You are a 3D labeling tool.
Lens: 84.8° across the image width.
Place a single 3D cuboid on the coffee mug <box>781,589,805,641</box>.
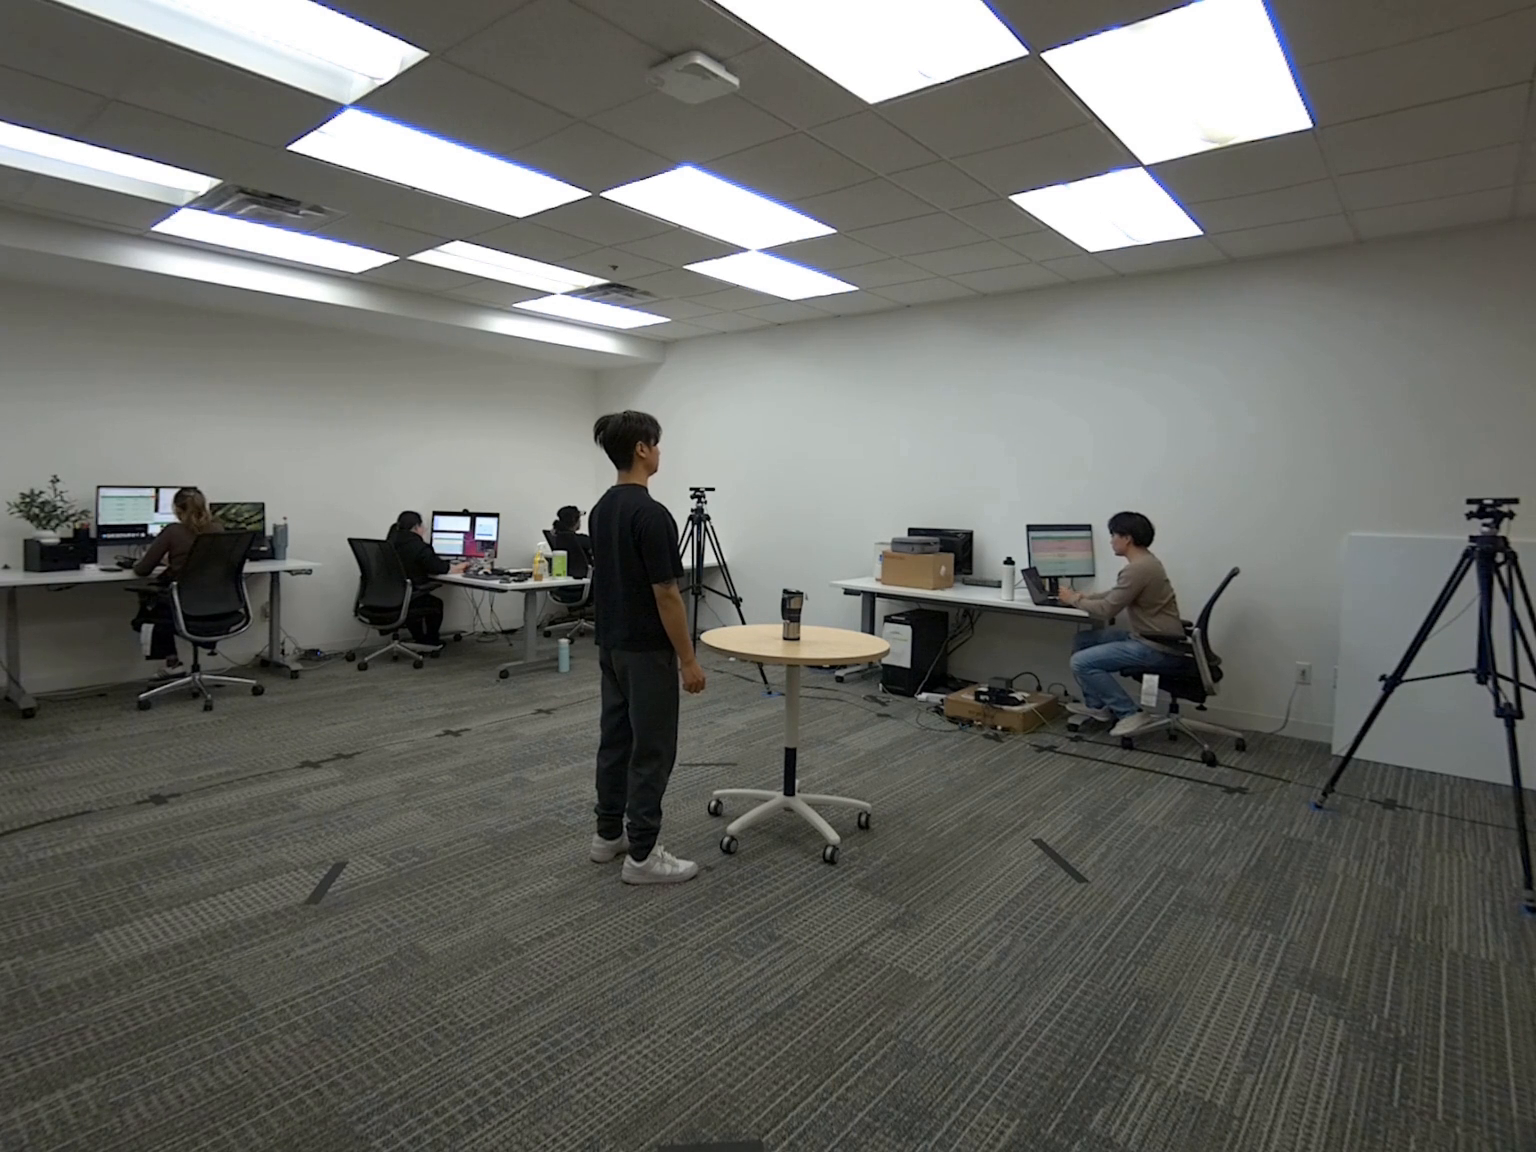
[{"bbox_3d":[0.071,0.158,3.437,0.118,0.202,0.091,2,7,-40],"label":"coffee mug"}]
